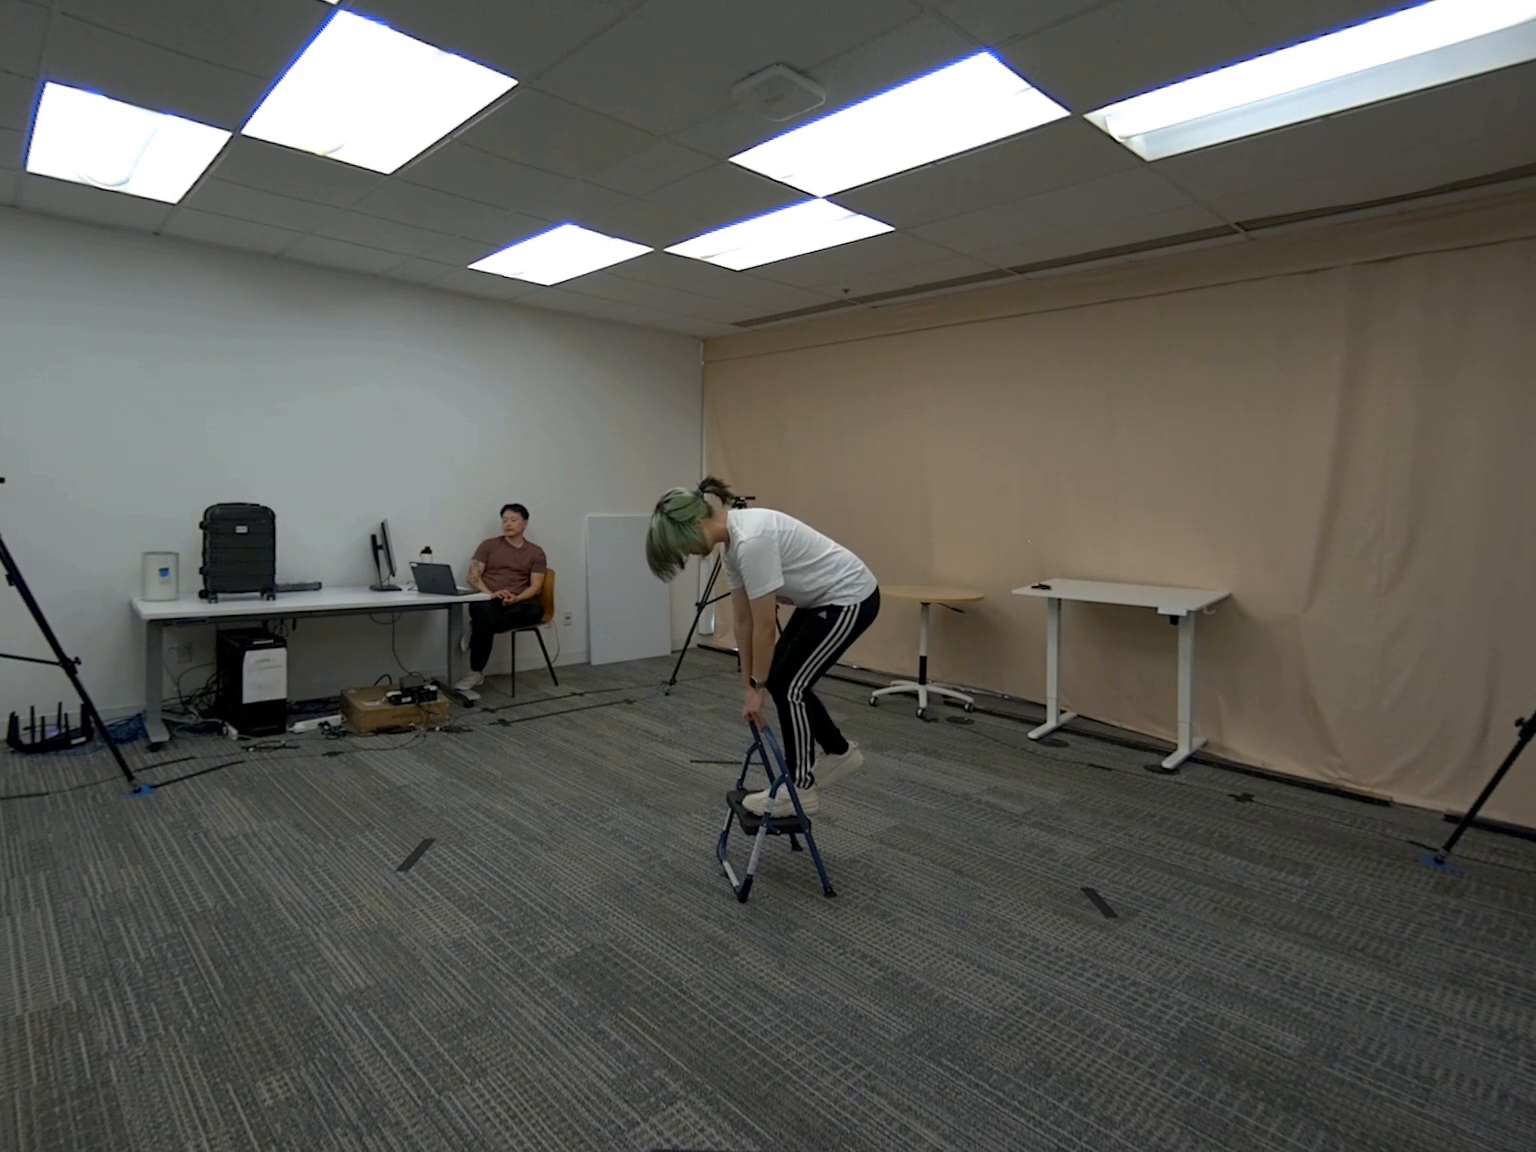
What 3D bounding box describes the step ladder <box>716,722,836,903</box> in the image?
[{"bbox_3d":[0.016,0.812,3.105,0.345,0.605,0.436,1,3,-15],"label":"step ladder"}]
